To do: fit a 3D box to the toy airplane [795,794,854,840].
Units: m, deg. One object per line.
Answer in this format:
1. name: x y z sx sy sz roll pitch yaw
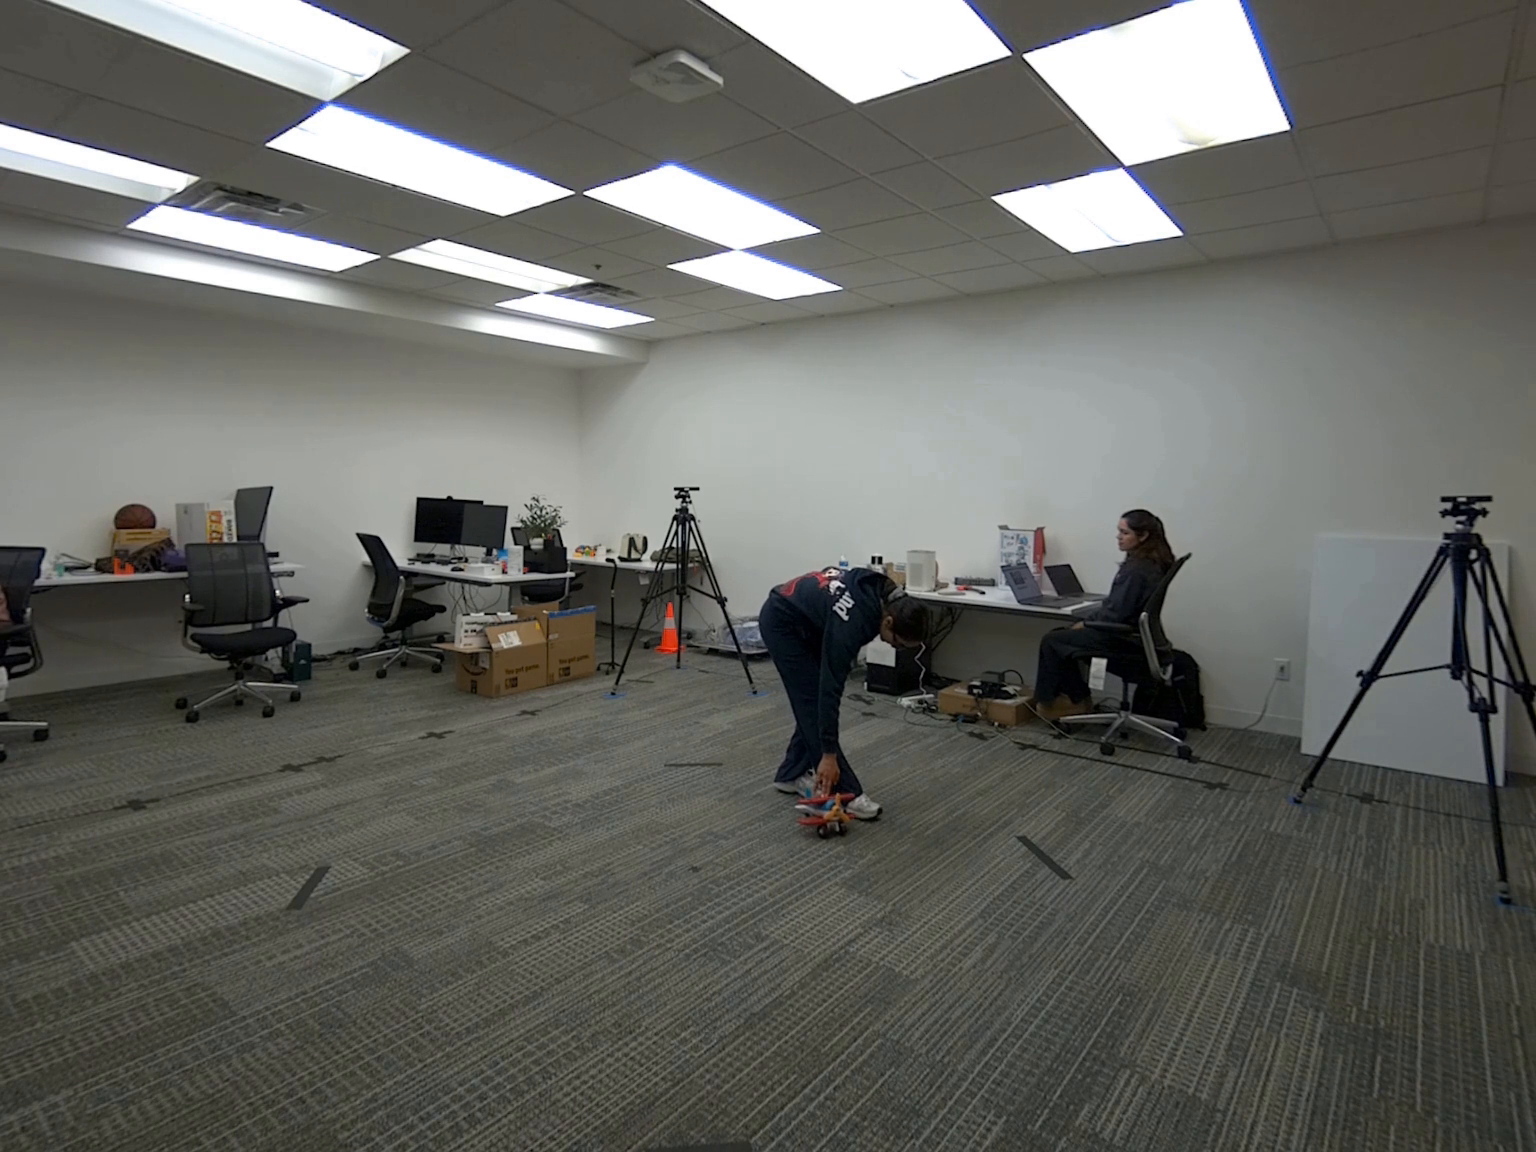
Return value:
1. toy airplane: 0.196 0.963 3.493 0.268 0.156 0.244 5 5 37
